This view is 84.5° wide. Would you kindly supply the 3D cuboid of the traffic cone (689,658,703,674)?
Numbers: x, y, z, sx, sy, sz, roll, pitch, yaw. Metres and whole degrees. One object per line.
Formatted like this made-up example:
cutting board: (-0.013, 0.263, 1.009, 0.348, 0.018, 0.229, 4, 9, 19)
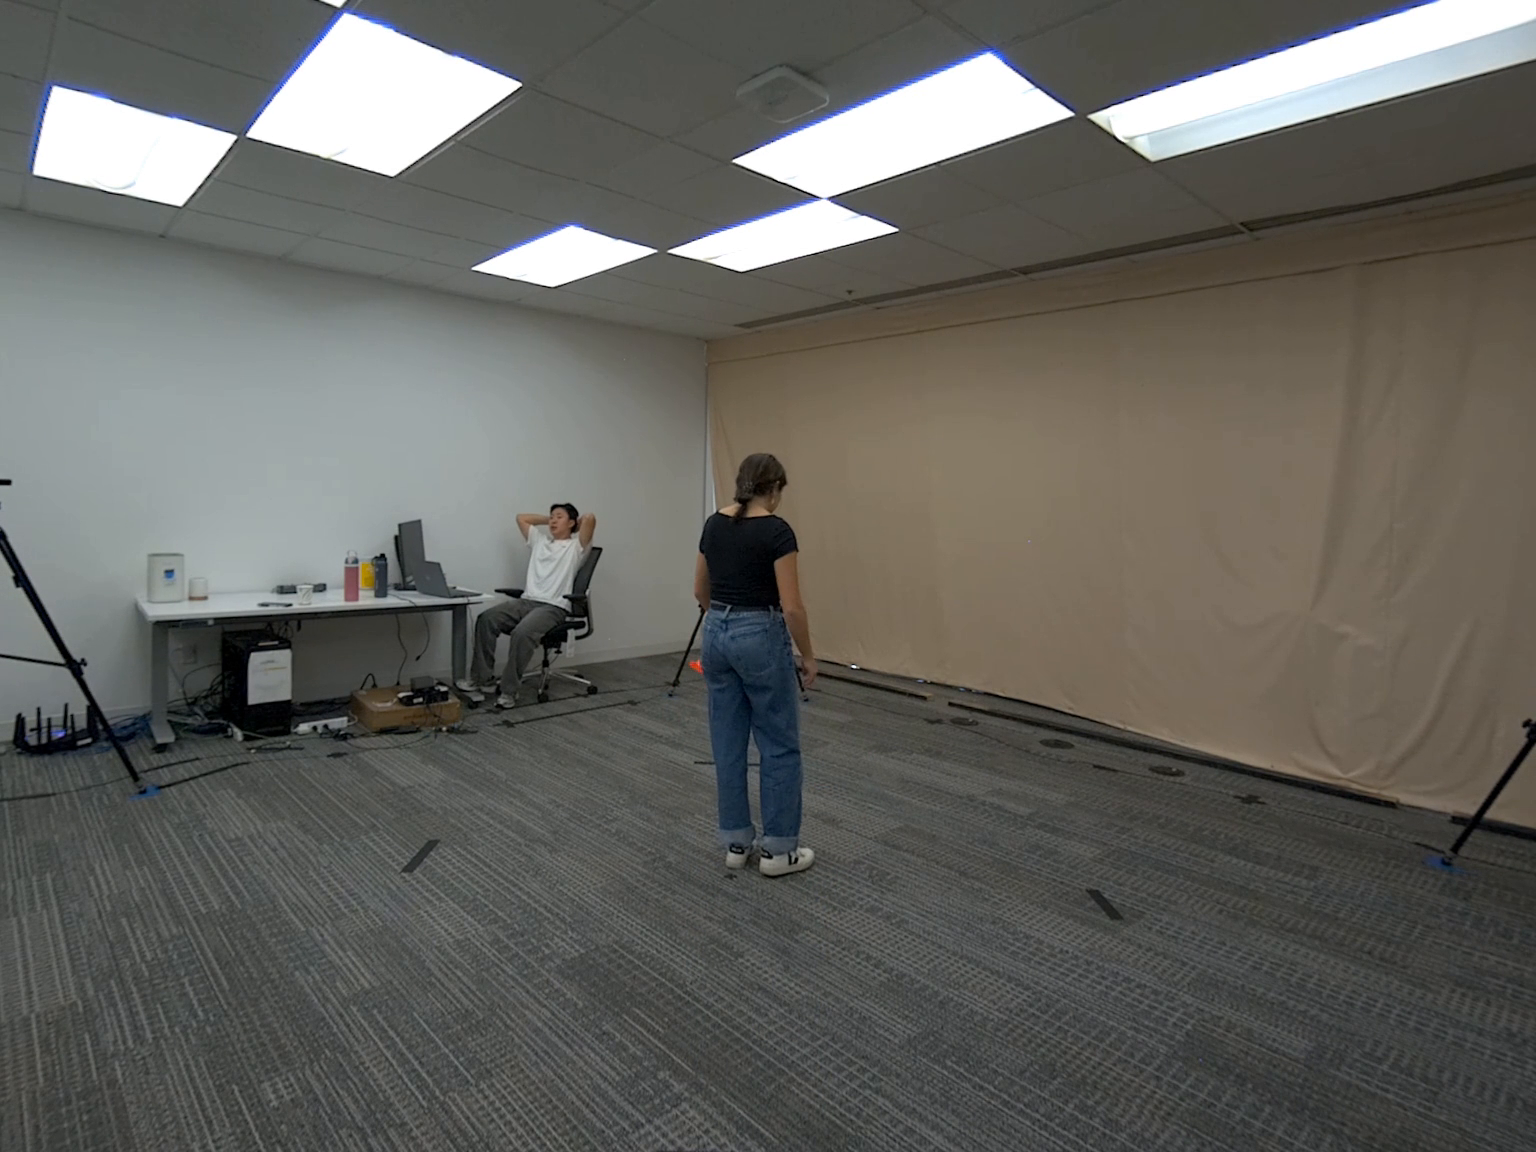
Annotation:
traffic cone: (-0.149, 0.269, 3.582, 0.203, 0.384, 0.205, 36, -13, -2)
